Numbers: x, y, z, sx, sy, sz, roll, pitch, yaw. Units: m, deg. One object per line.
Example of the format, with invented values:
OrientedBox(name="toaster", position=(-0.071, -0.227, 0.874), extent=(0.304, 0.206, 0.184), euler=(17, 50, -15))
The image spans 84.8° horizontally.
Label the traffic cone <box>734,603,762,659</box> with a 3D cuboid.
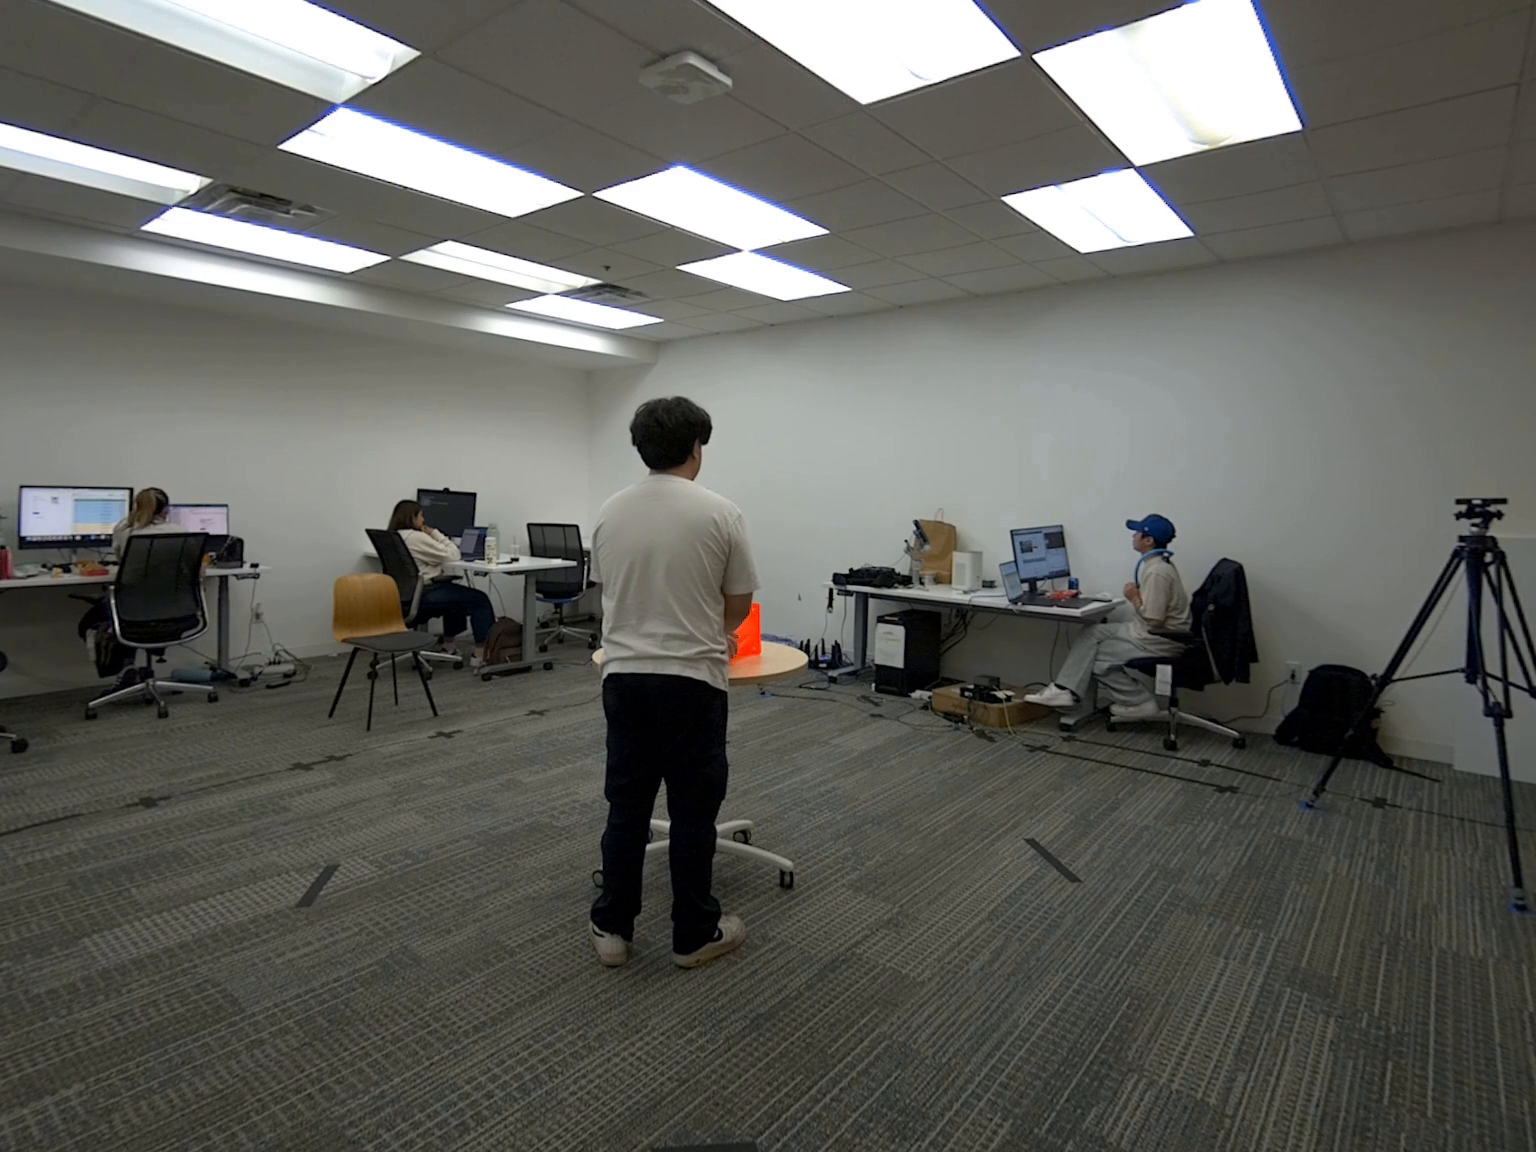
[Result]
OrientedBox(name="traffic cone", position=(-0.175, 0.239, 2.871), extent=(0.208, 0.200, 0.383), euler=(4, 16, 12))
